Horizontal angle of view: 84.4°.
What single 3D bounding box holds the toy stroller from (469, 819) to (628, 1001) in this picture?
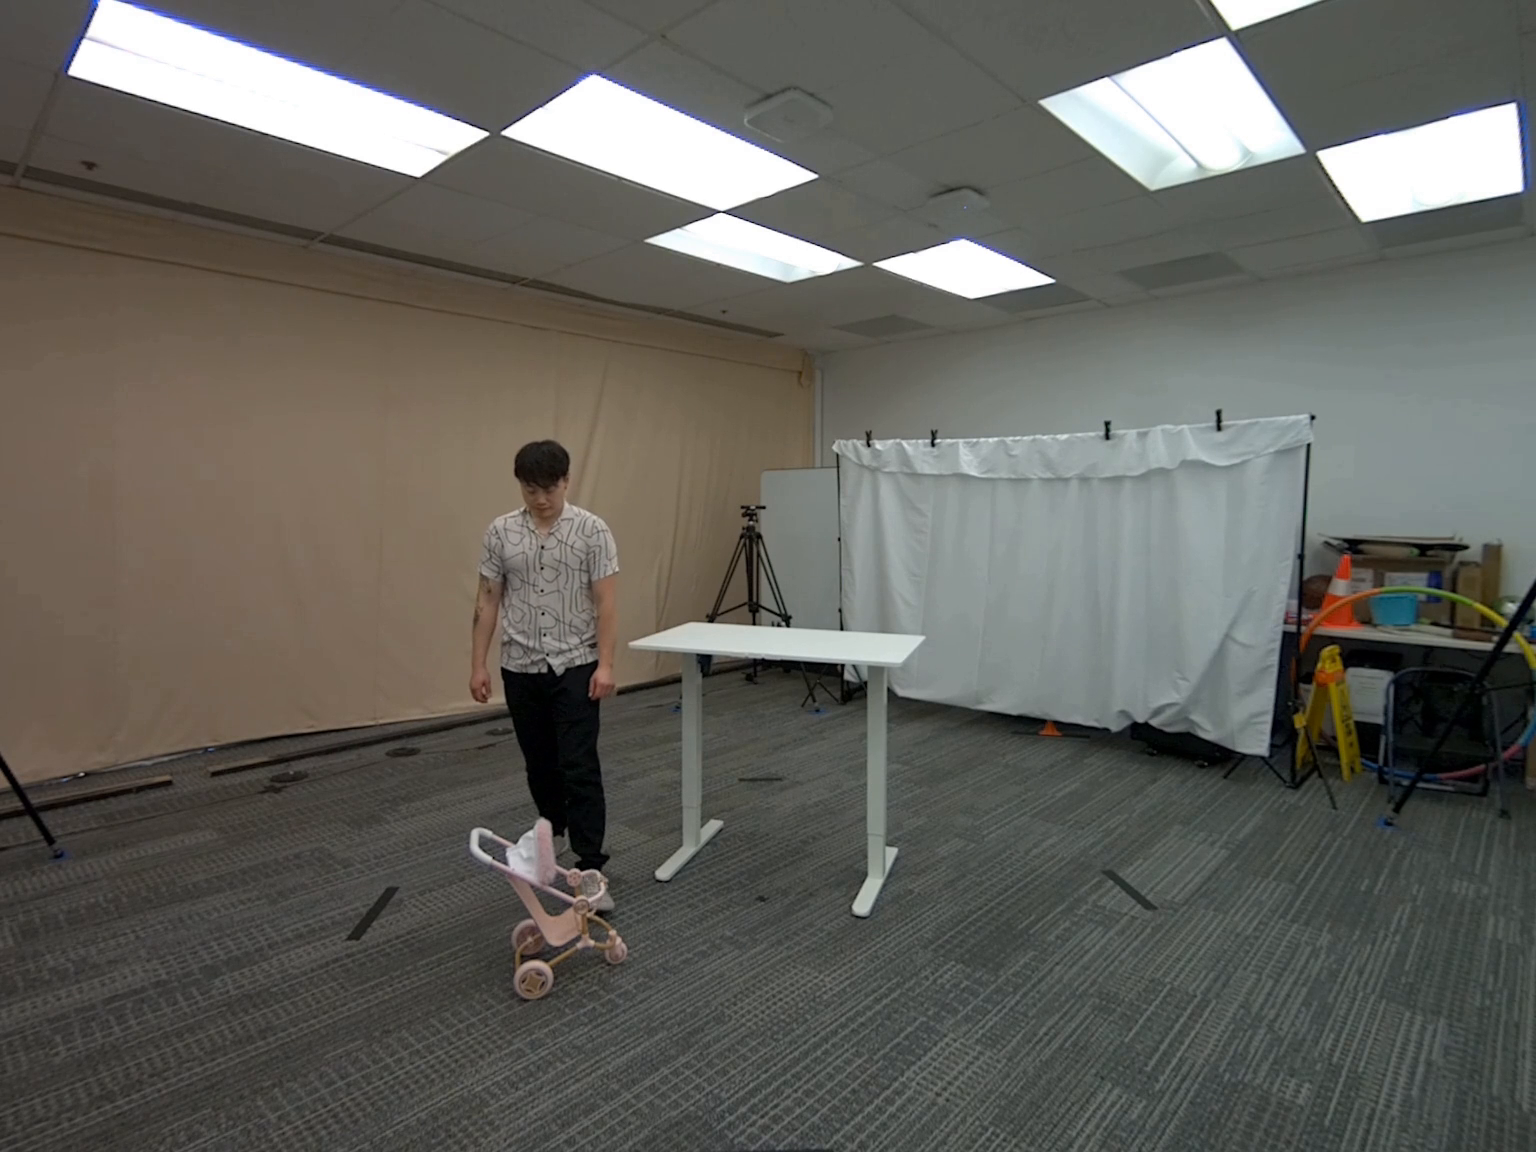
[{"bbox_3d":[-0.640,0.963,2.500,0.338,0.532,0.286,-17,7,-11],"label":"toy stroller"}]
